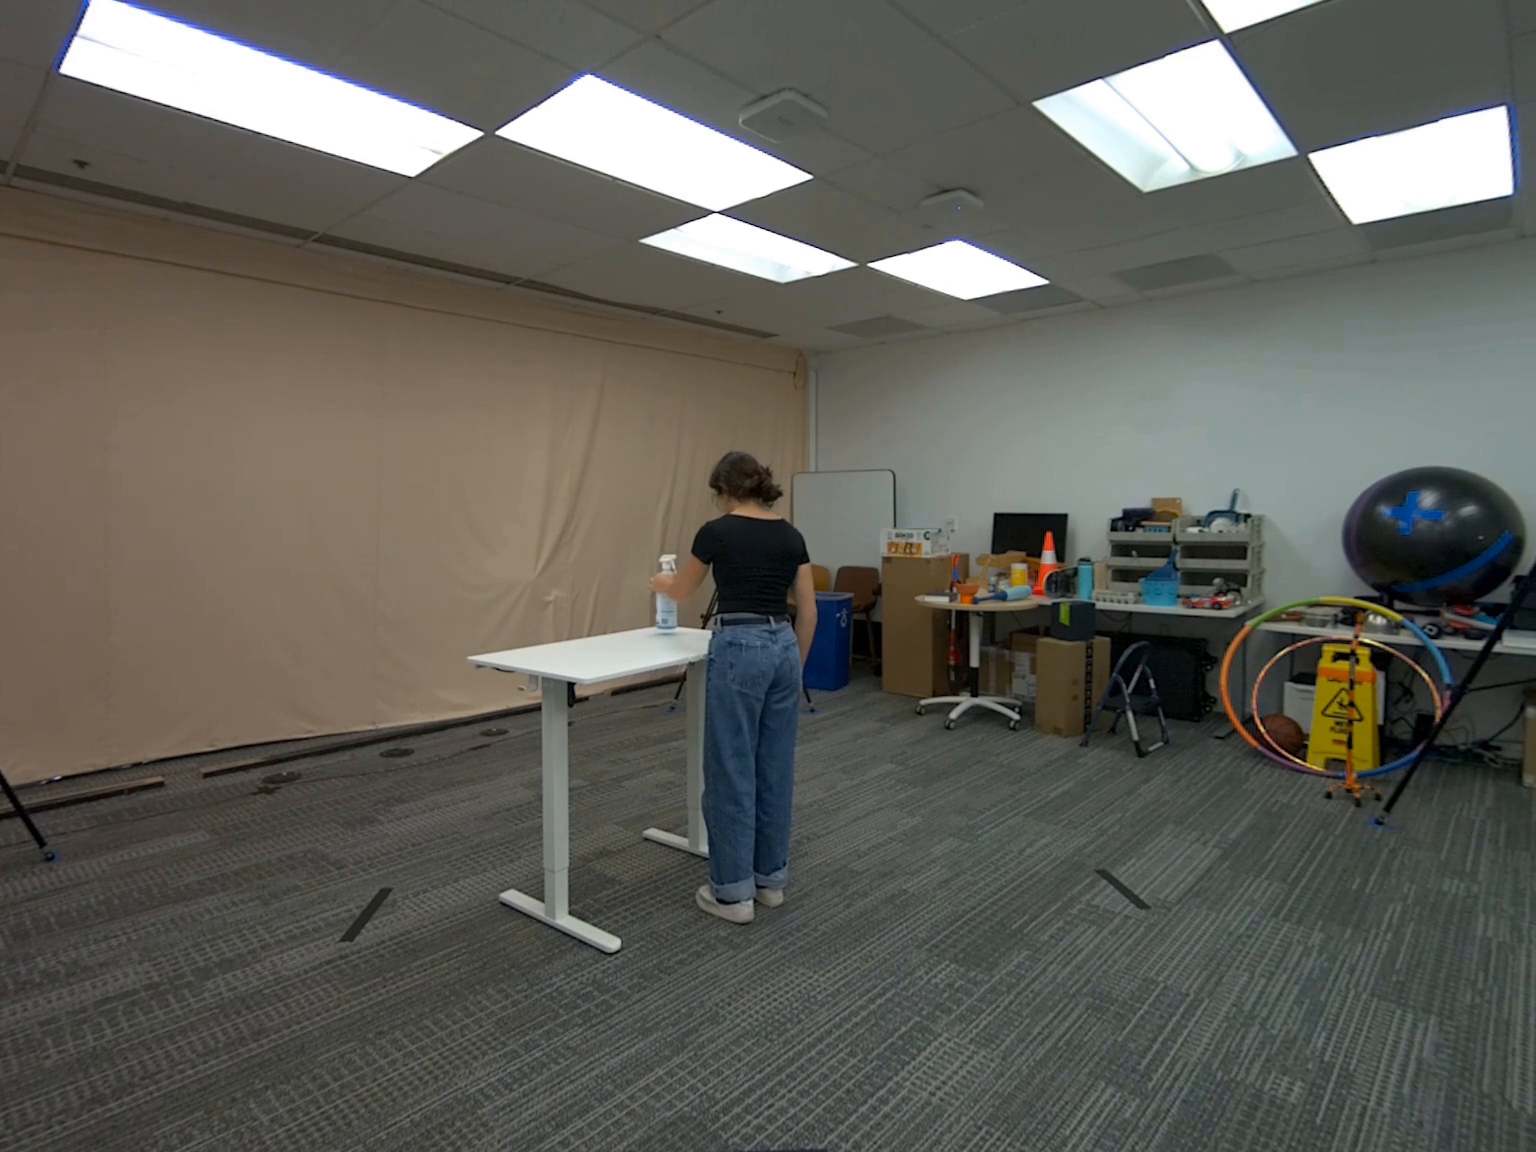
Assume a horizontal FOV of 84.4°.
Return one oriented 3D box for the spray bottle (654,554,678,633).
[{"bbox_3d":[-0.406,0.064,3.363,0.085,0.296,0.092,-1,7,-21],"label":"spray bottle"}]
